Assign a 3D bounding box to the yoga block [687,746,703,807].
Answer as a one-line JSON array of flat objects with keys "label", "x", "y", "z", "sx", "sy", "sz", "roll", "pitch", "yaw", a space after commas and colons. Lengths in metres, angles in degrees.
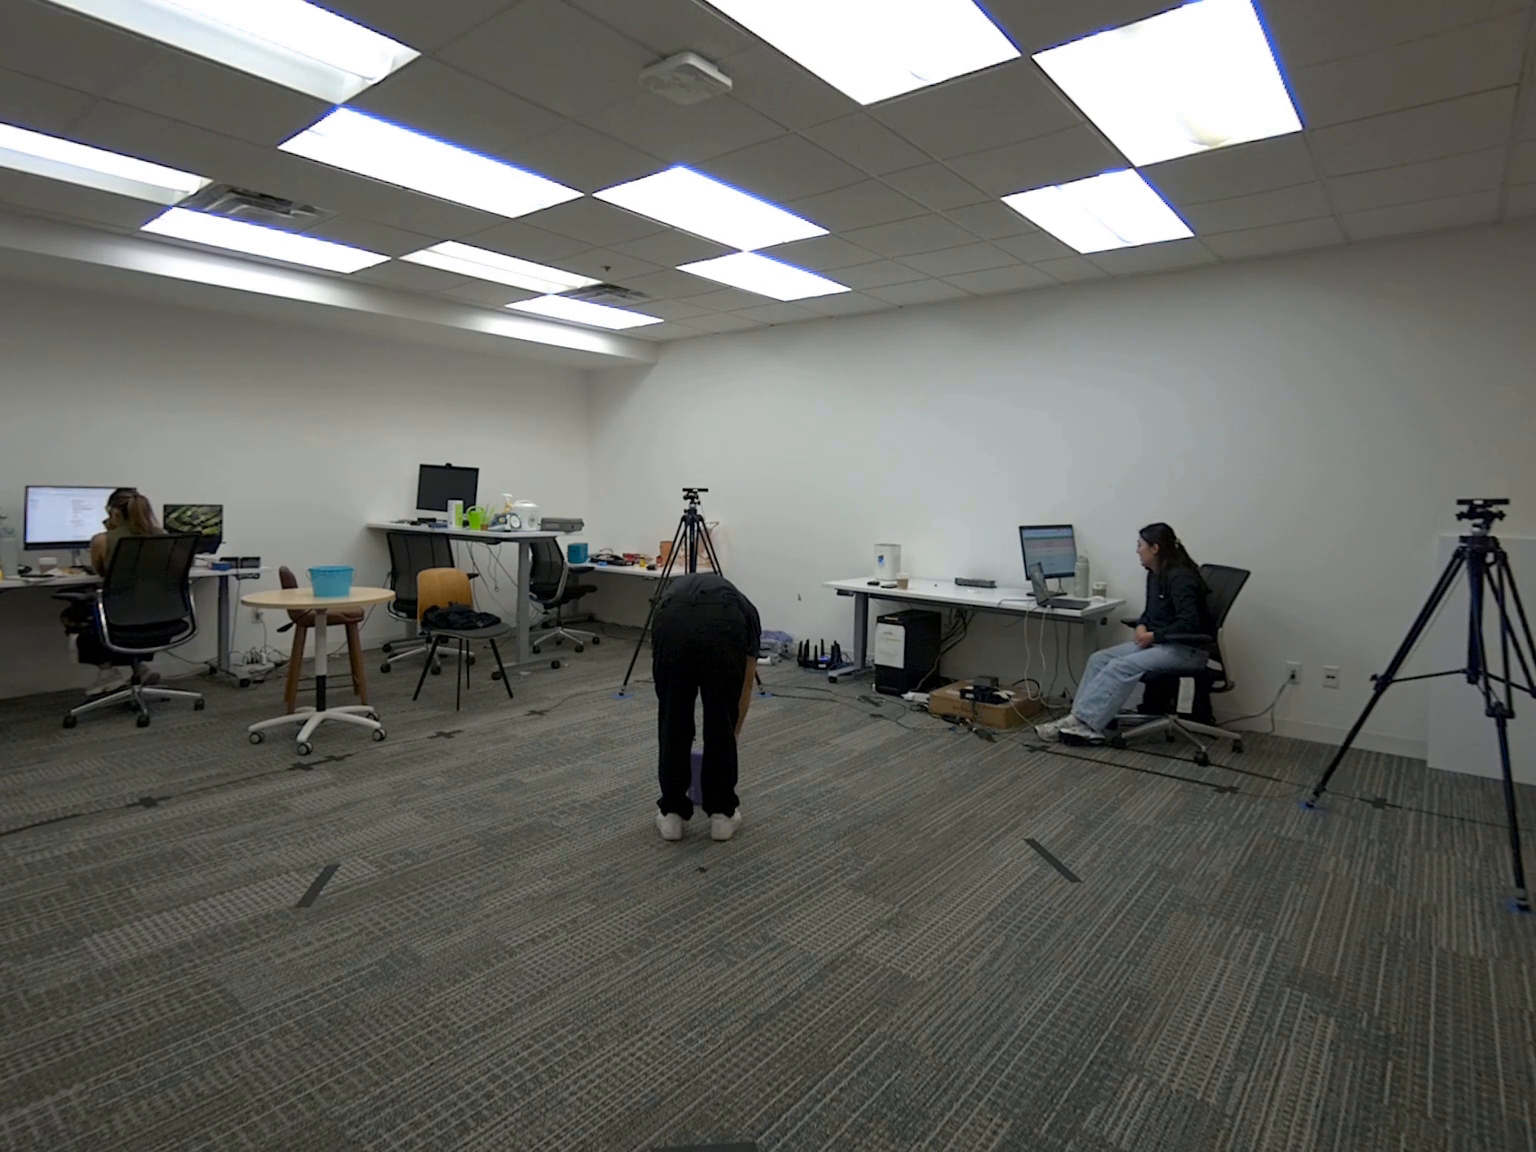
[{"label": "yoga block", "x": -0.286, "y": 0.886, "z": 3.761, "sx": 0.150, "sy": 0.229, "sz": 0.076, "roll": 1, "pitch": 2, "yaw": 5}]
